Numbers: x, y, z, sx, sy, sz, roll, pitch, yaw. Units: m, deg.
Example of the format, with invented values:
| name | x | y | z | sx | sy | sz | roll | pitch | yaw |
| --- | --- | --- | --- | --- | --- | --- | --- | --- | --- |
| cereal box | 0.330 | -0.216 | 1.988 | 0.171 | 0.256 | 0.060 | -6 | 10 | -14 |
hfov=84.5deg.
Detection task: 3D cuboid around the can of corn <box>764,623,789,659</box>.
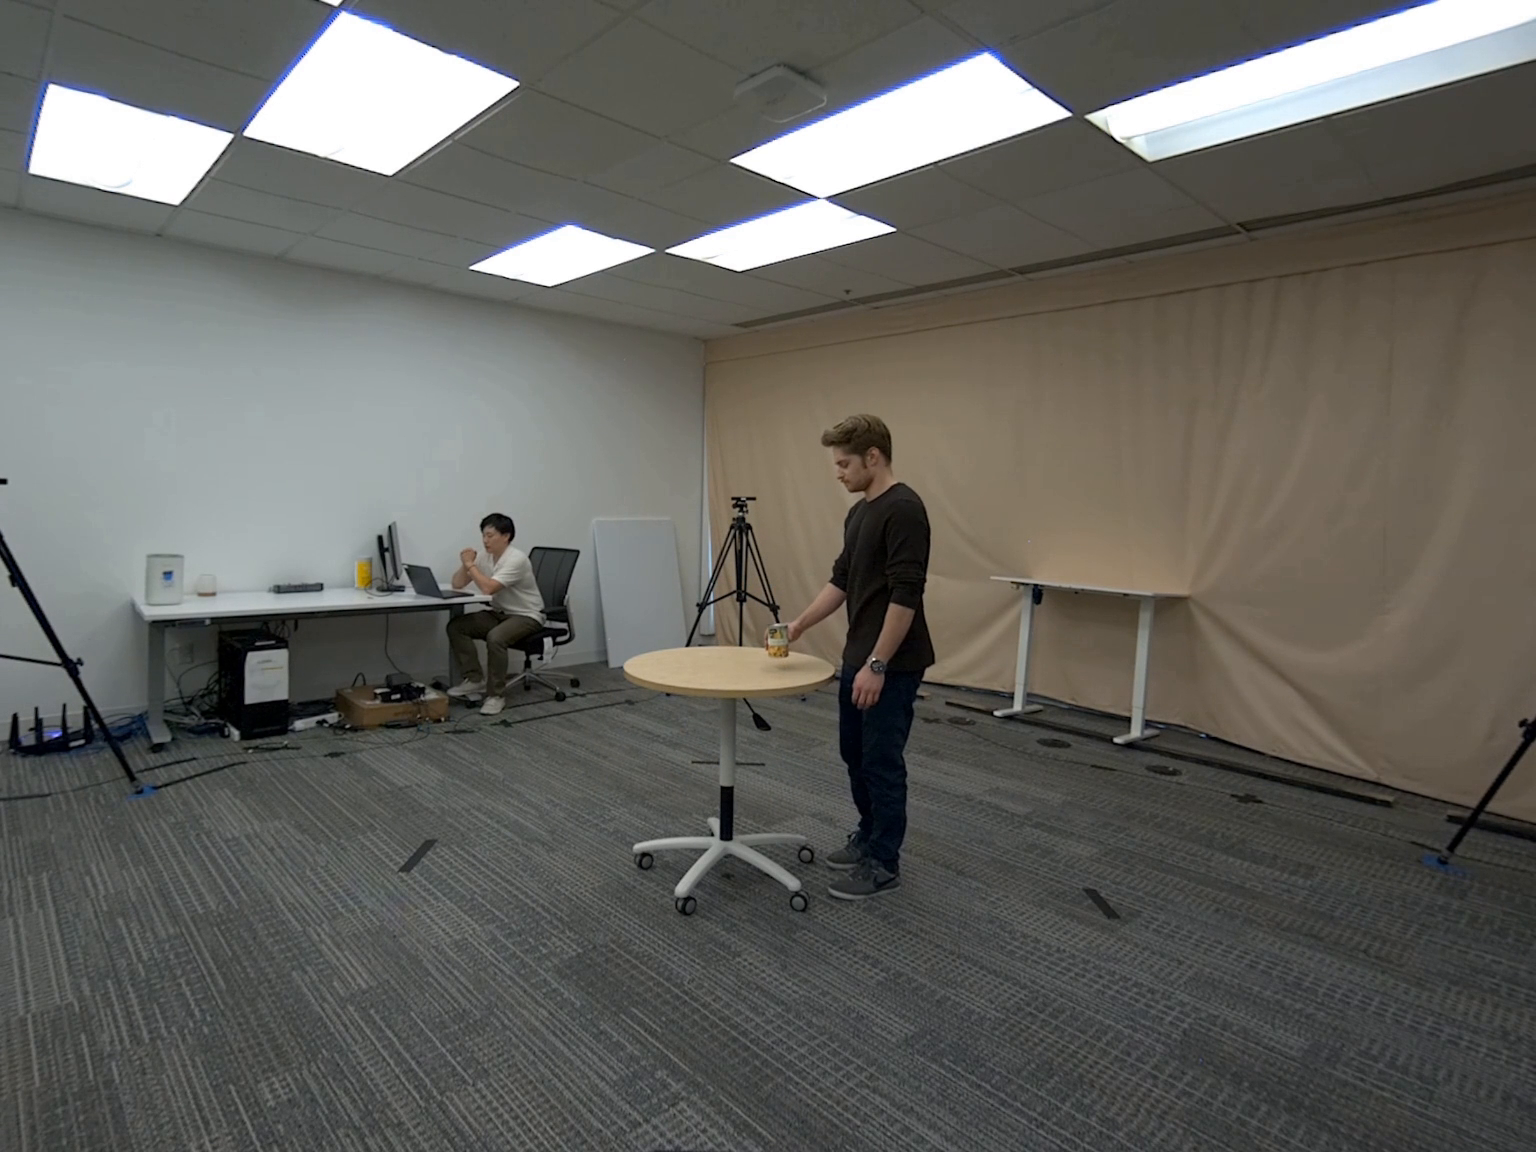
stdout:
| name | x | y | z | sx | sy | sz | roll | pitch | yaw |
| --- | --- | --- | --- | --- | --- | --- | --- | --- | --- |
| can of corn | 0.030 | 0.232 | 3.012 | 0.074 | 0.111 | 0.074 | -2 | 0 | -1 |
